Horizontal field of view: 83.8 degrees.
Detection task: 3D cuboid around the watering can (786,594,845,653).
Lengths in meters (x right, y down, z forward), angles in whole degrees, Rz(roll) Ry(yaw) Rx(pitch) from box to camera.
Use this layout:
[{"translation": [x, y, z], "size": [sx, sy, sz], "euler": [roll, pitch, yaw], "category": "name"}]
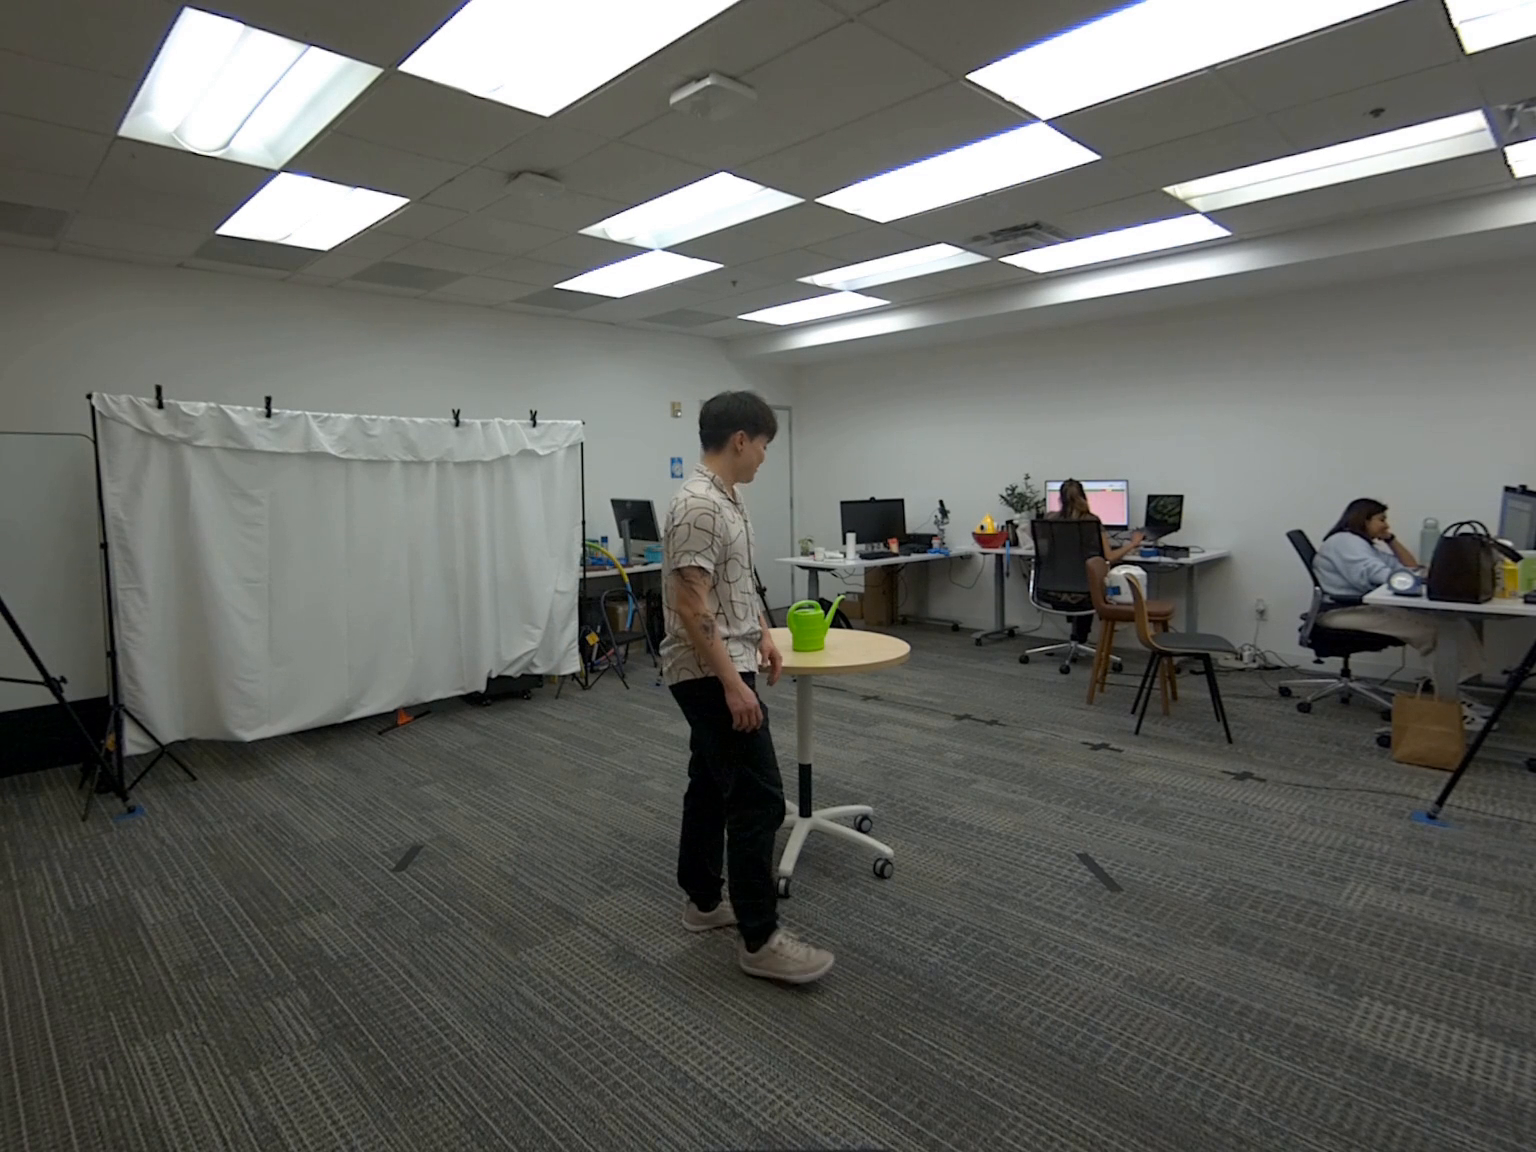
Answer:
[{"translation": [0.185, 0.173, 3.089], "size": [0.273, 0.176, 0.100], "euler": [-5, 7, -24], "category": "watering can"}]
